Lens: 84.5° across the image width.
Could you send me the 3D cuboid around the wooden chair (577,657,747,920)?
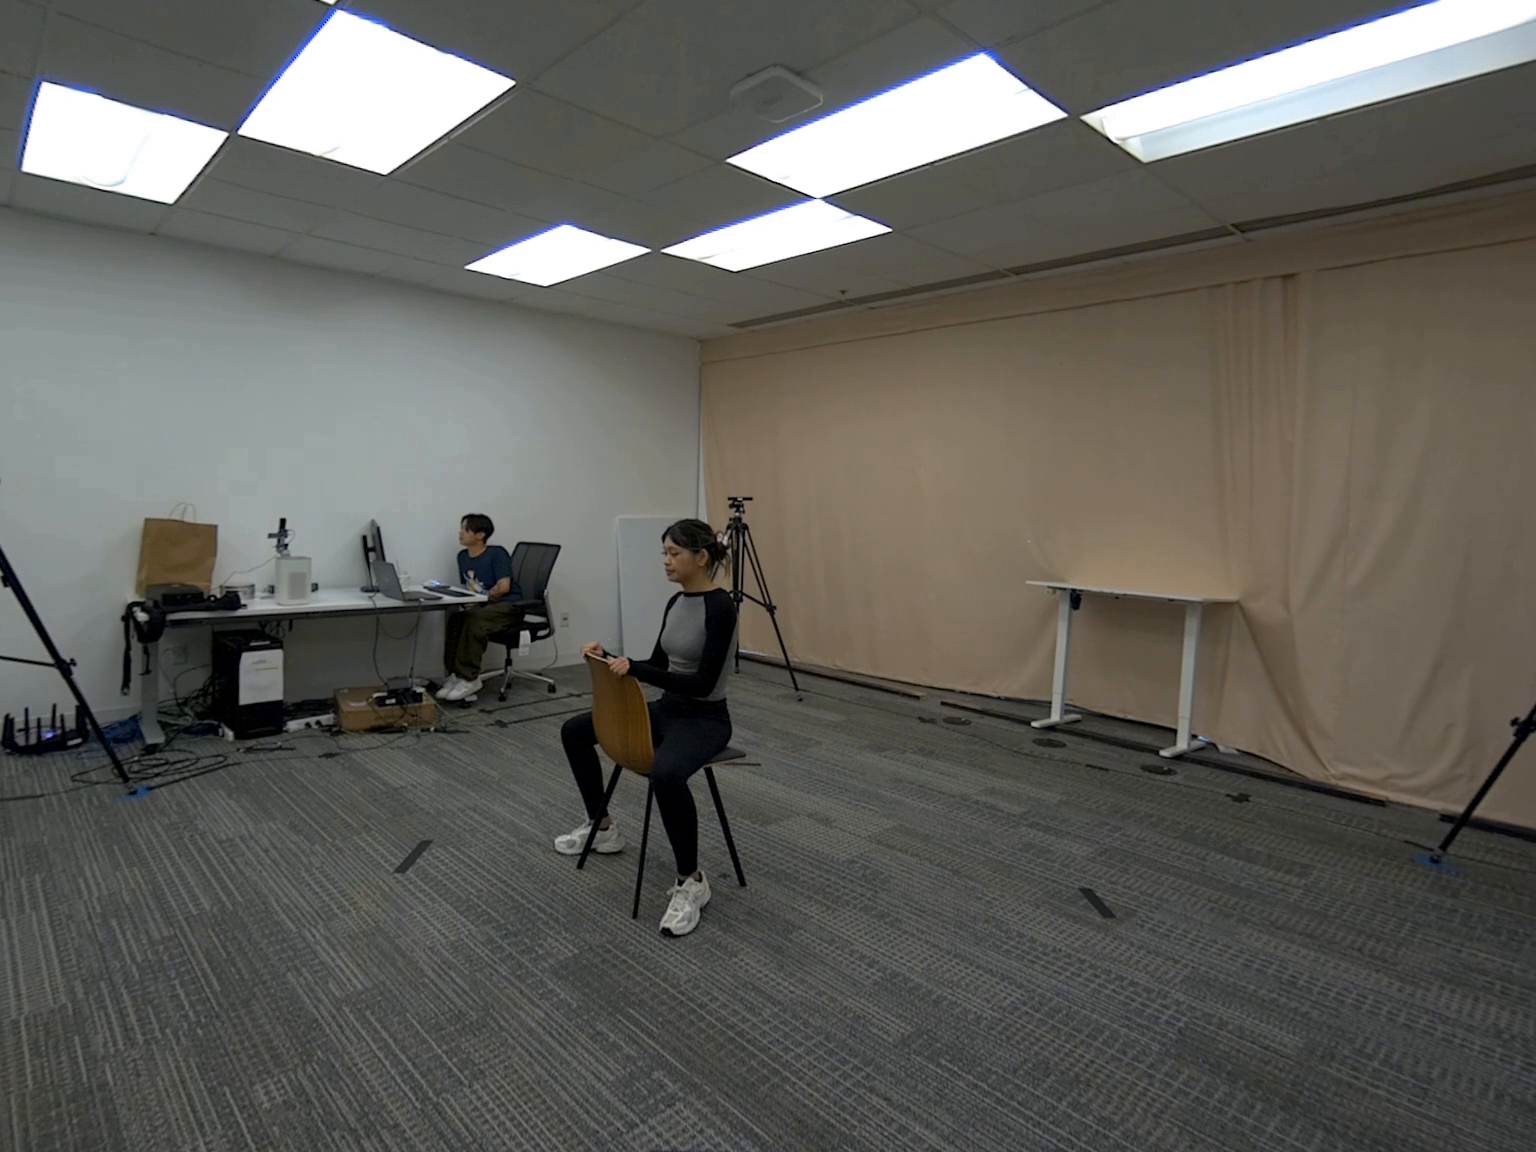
[{"bbox_3d":[-0.382,0.682,3.058,0.513,0.873,0.490,-7,8,-35],"label":"wooden chair"}]
